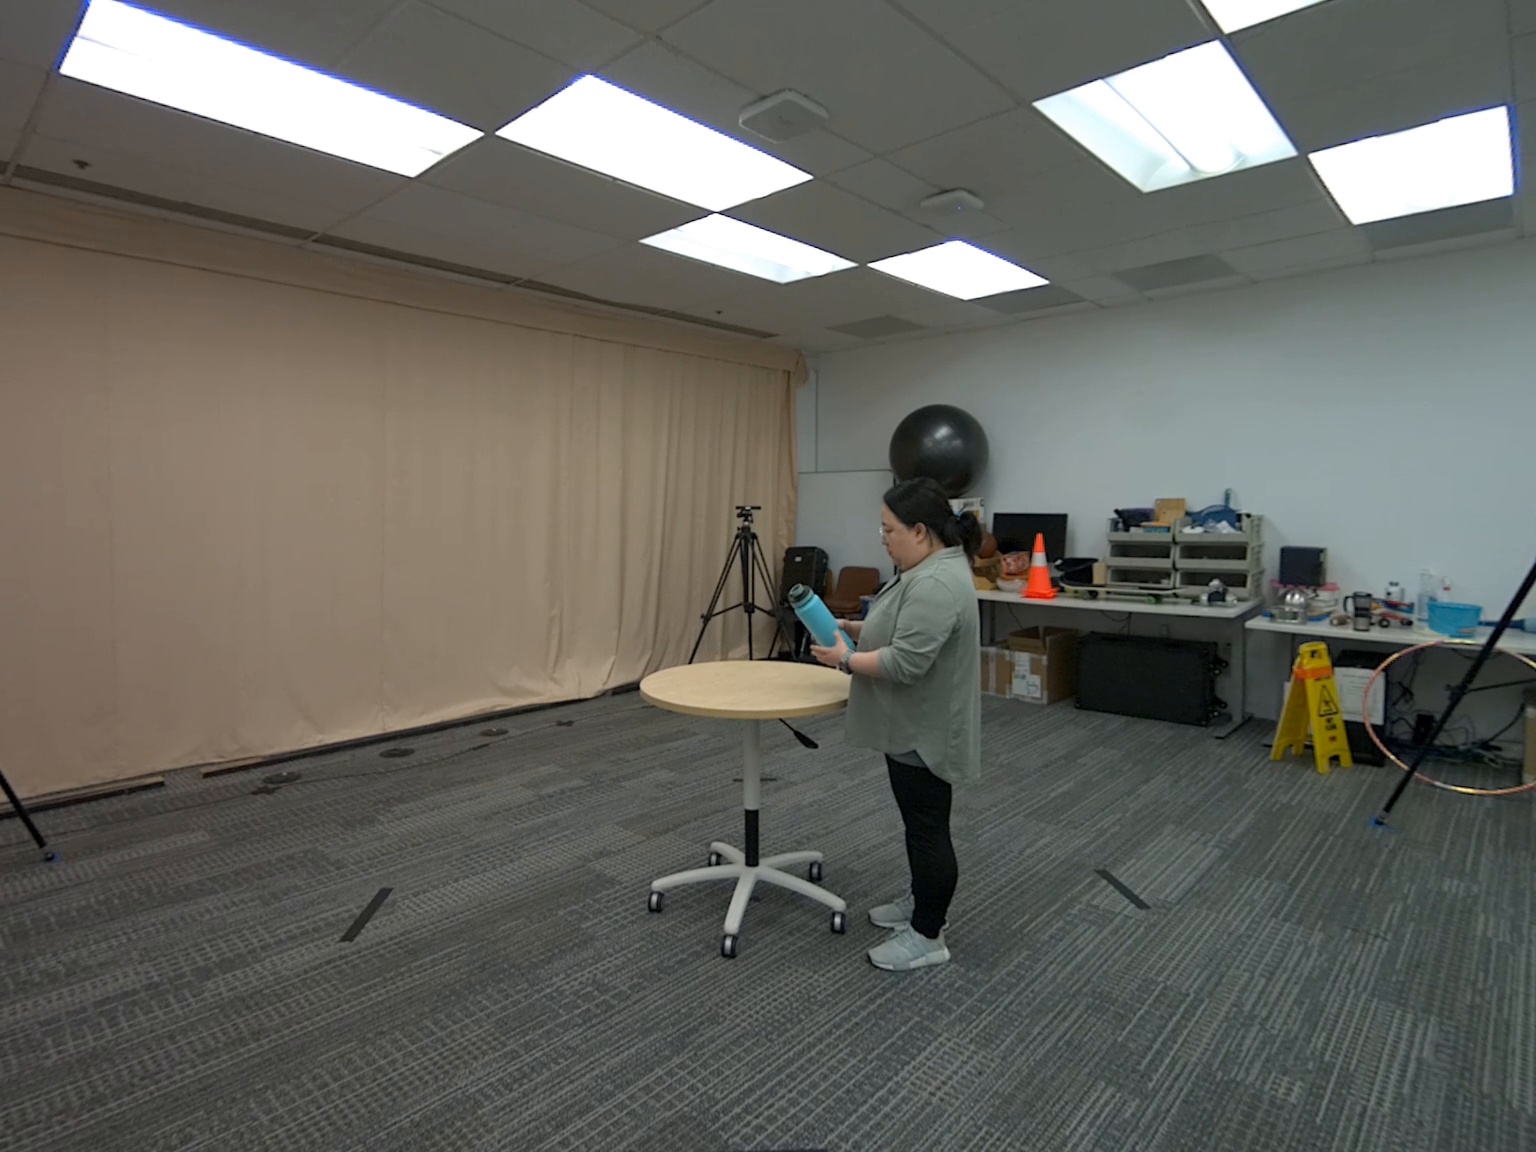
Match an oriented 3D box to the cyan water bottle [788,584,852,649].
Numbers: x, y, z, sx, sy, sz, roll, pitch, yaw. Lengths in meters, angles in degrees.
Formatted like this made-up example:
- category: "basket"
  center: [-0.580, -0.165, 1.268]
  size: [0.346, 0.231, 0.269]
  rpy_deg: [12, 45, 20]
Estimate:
- category: "cyan water bottle"
  center: [0.177, 0.151, 2.665]
  size: [0.093, 0.279, 0.093]
  rpy_deg: [-35, 12, 7]
